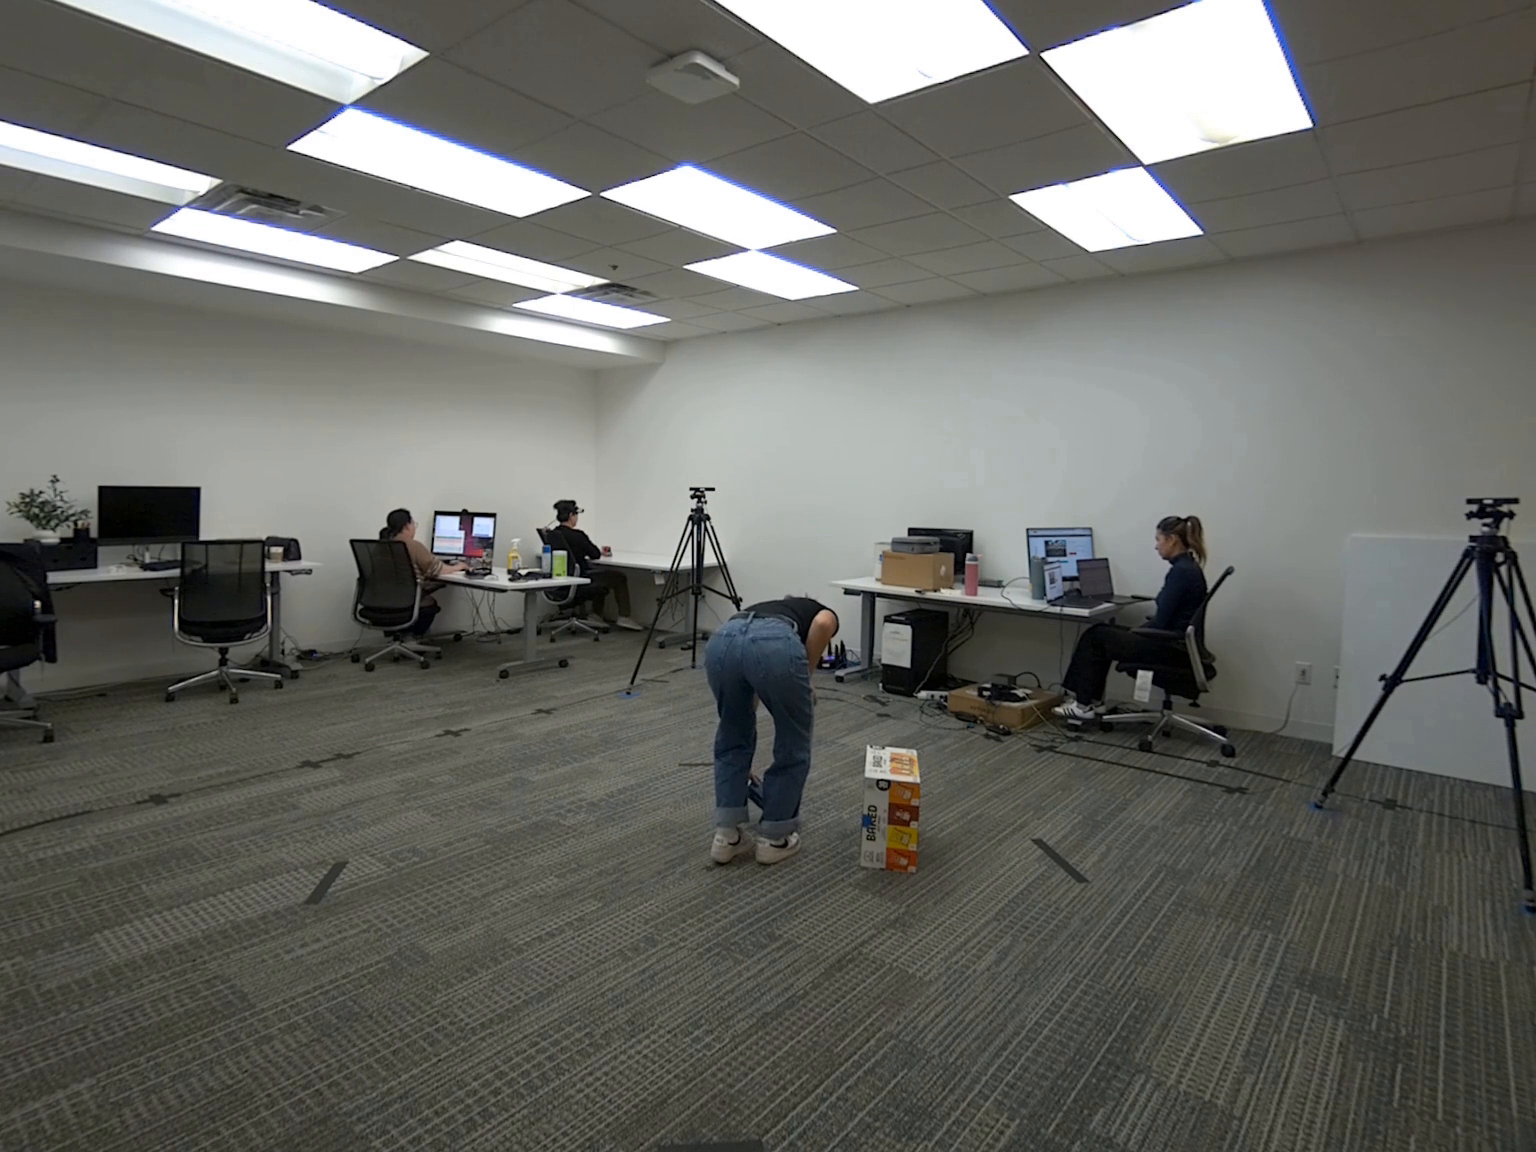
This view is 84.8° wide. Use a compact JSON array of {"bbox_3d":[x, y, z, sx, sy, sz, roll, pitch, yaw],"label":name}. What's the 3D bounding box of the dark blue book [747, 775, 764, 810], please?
[{"bbox_3d":[0.013,0.942,3.535,0.247,0.045,0.162,38,5,5],"label":"dark blue book"}]
